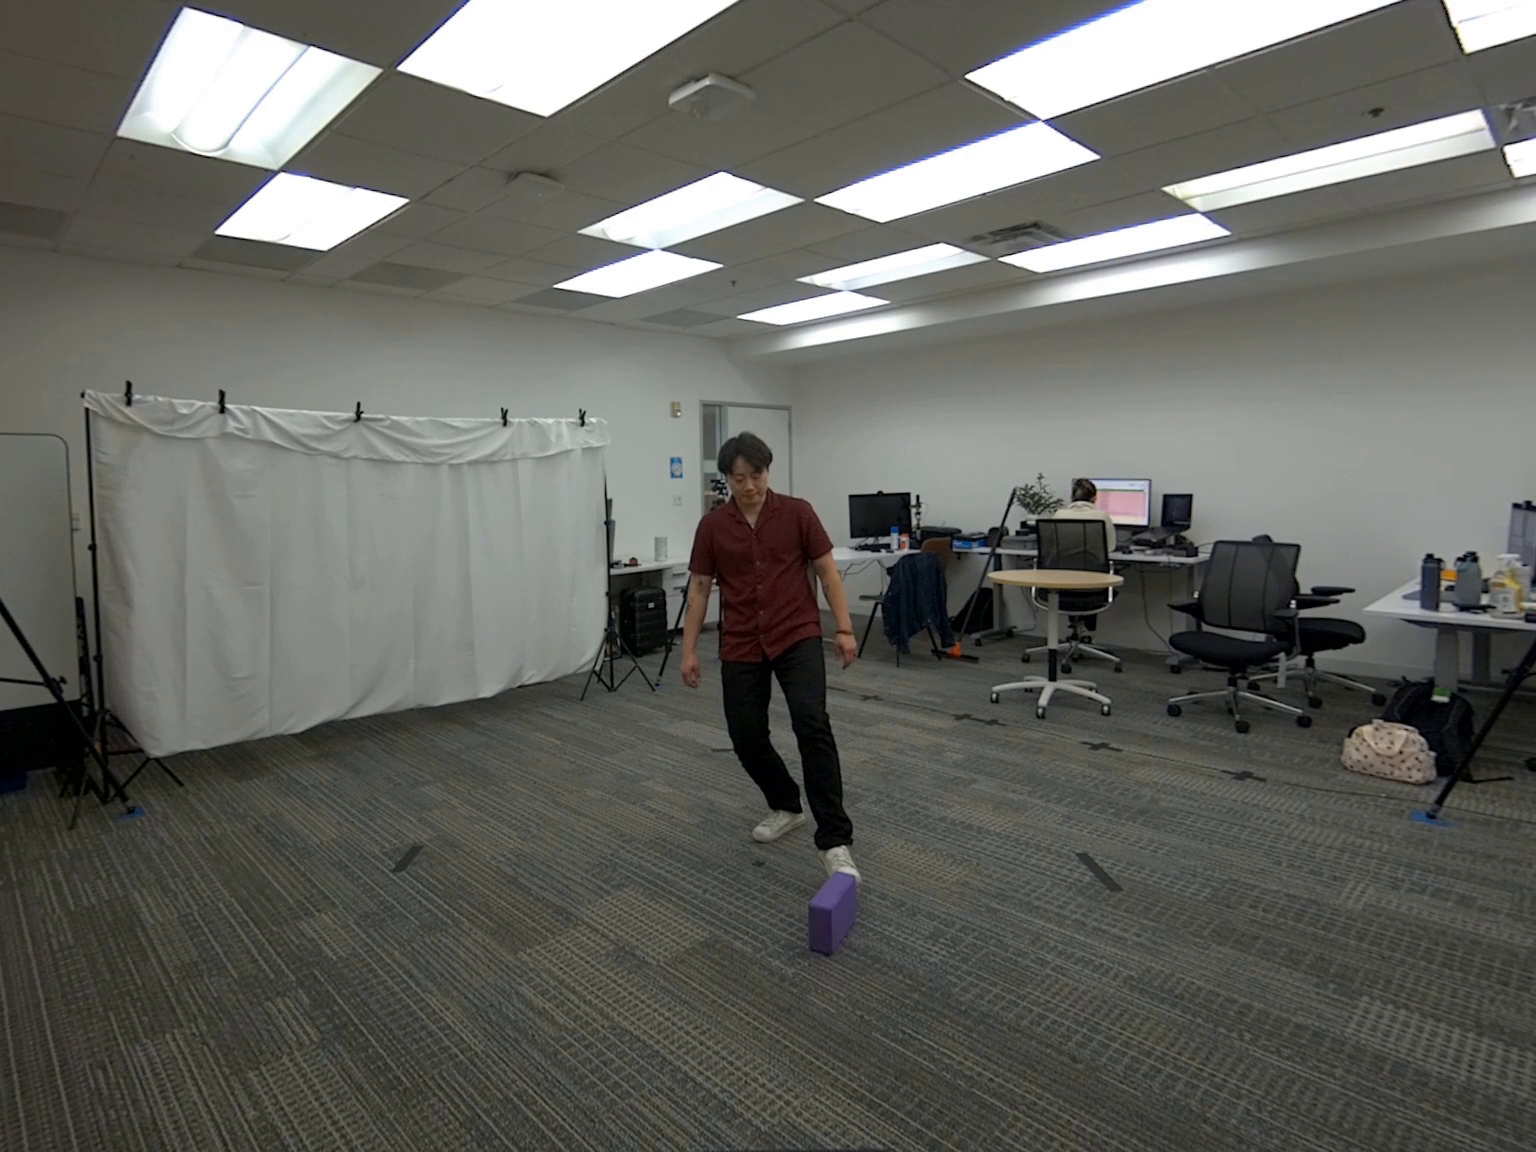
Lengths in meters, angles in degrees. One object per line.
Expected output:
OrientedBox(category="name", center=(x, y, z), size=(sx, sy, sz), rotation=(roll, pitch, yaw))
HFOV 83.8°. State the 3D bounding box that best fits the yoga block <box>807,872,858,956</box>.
OrientedBox(category="yoga block", center=(0.202, 1.025, 2.605), size=(0.078, 0.148, 0.225), rotation=(0, 6, 25))
